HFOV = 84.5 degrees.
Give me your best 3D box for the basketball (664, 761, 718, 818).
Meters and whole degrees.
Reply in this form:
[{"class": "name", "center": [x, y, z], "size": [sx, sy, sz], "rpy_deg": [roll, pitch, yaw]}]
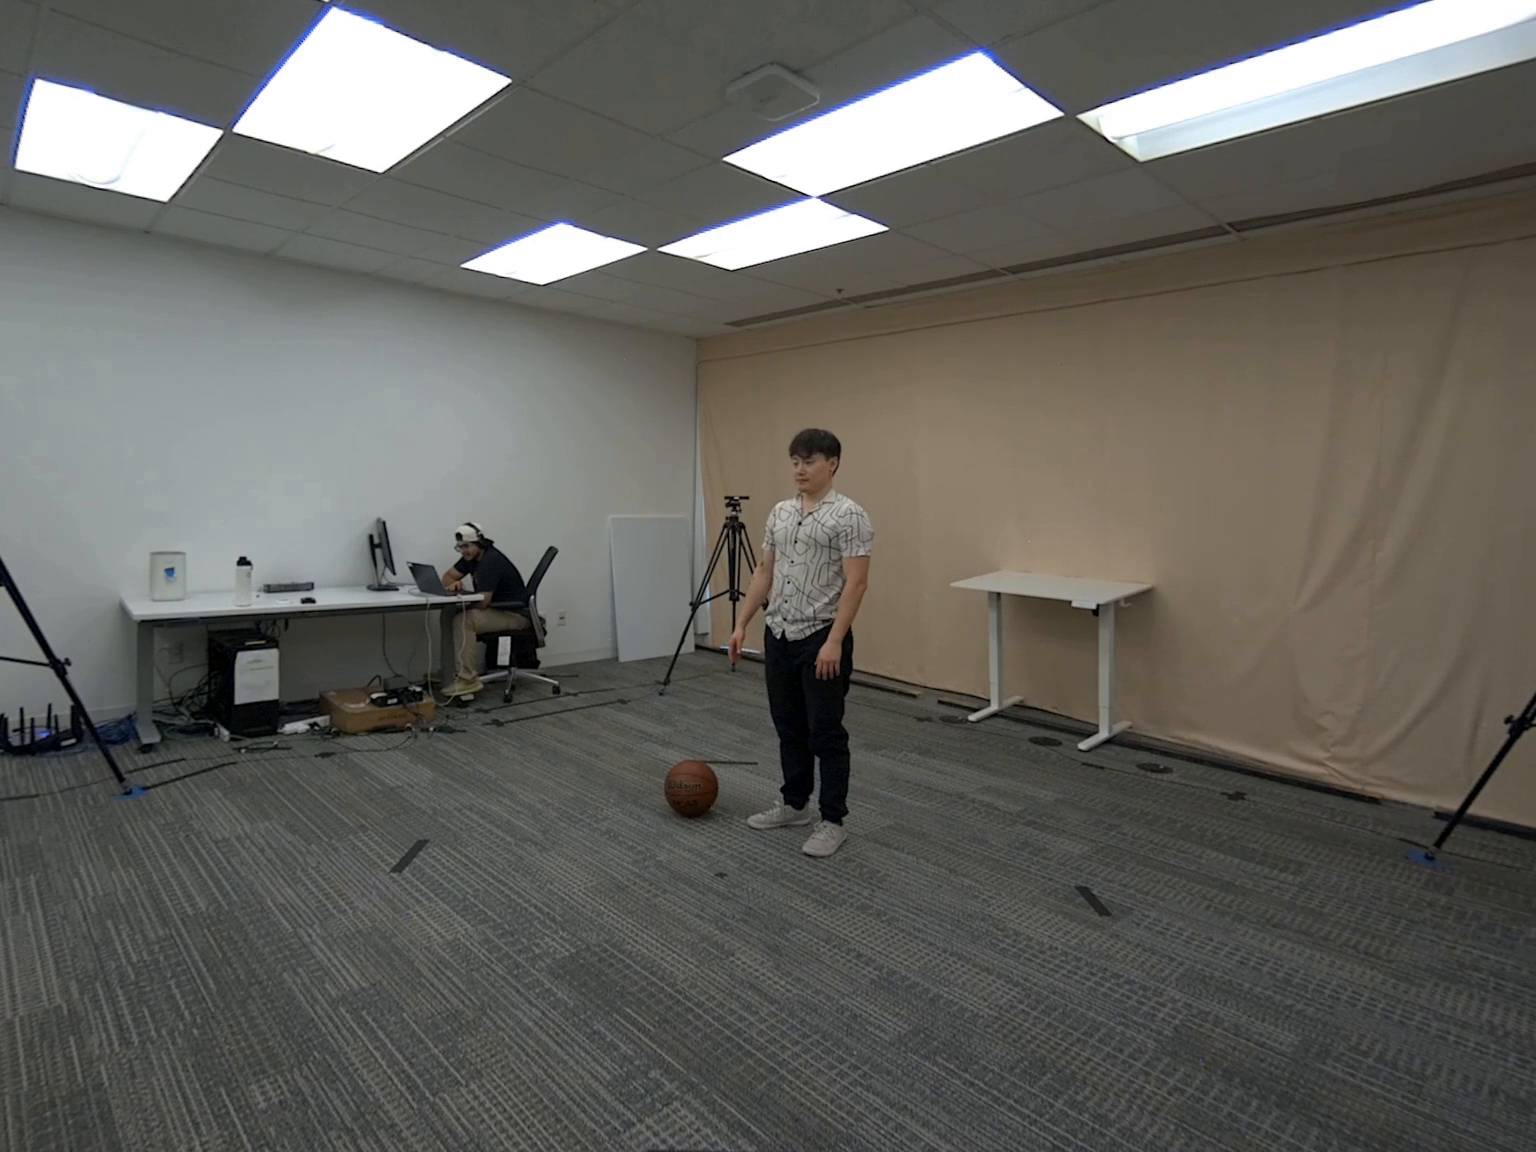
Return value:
[{"class": "basketball", "center": [-0.342, 0.924, 3.689], "size": [0.236, 0.235, 0.237], "rpy_deg": [1, 4, -1]}]
